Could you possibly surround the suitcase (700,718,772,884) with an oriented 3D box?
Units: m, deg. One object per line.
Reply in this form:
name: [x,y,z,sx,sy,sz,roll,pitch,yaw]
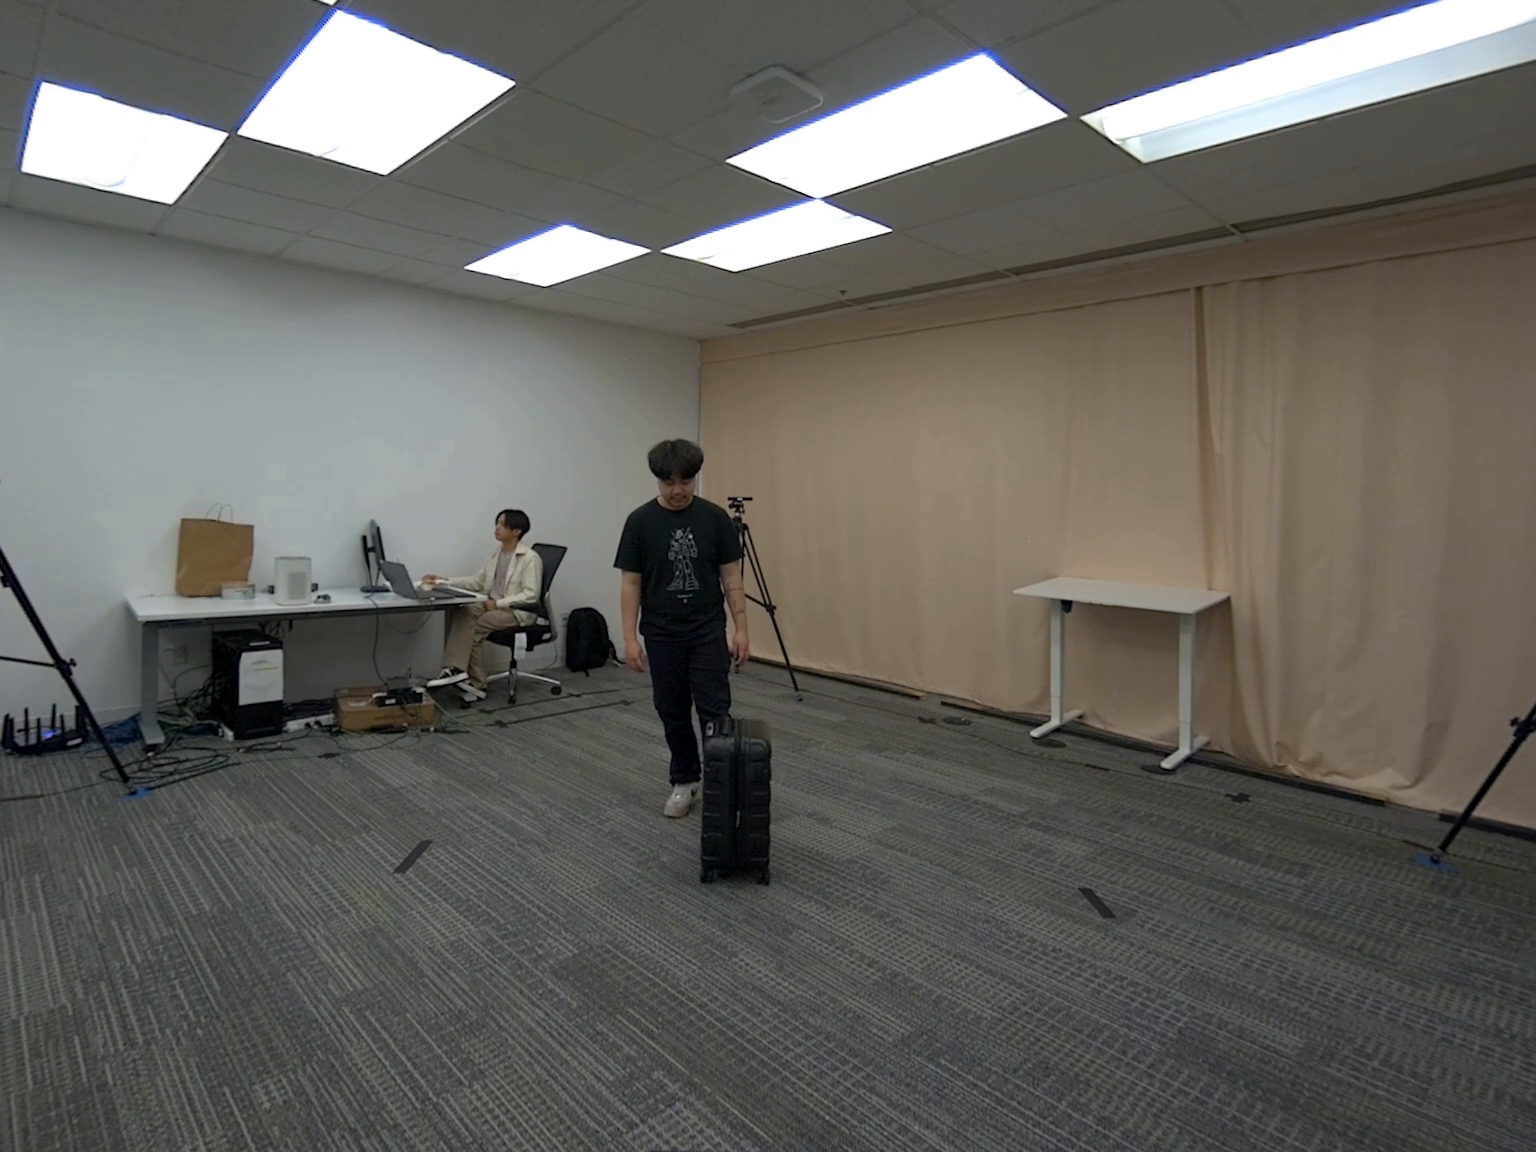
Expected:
suitcase: [-0.125,0.825,3.164,0.248,0.548,0.377,1,4,-3]
